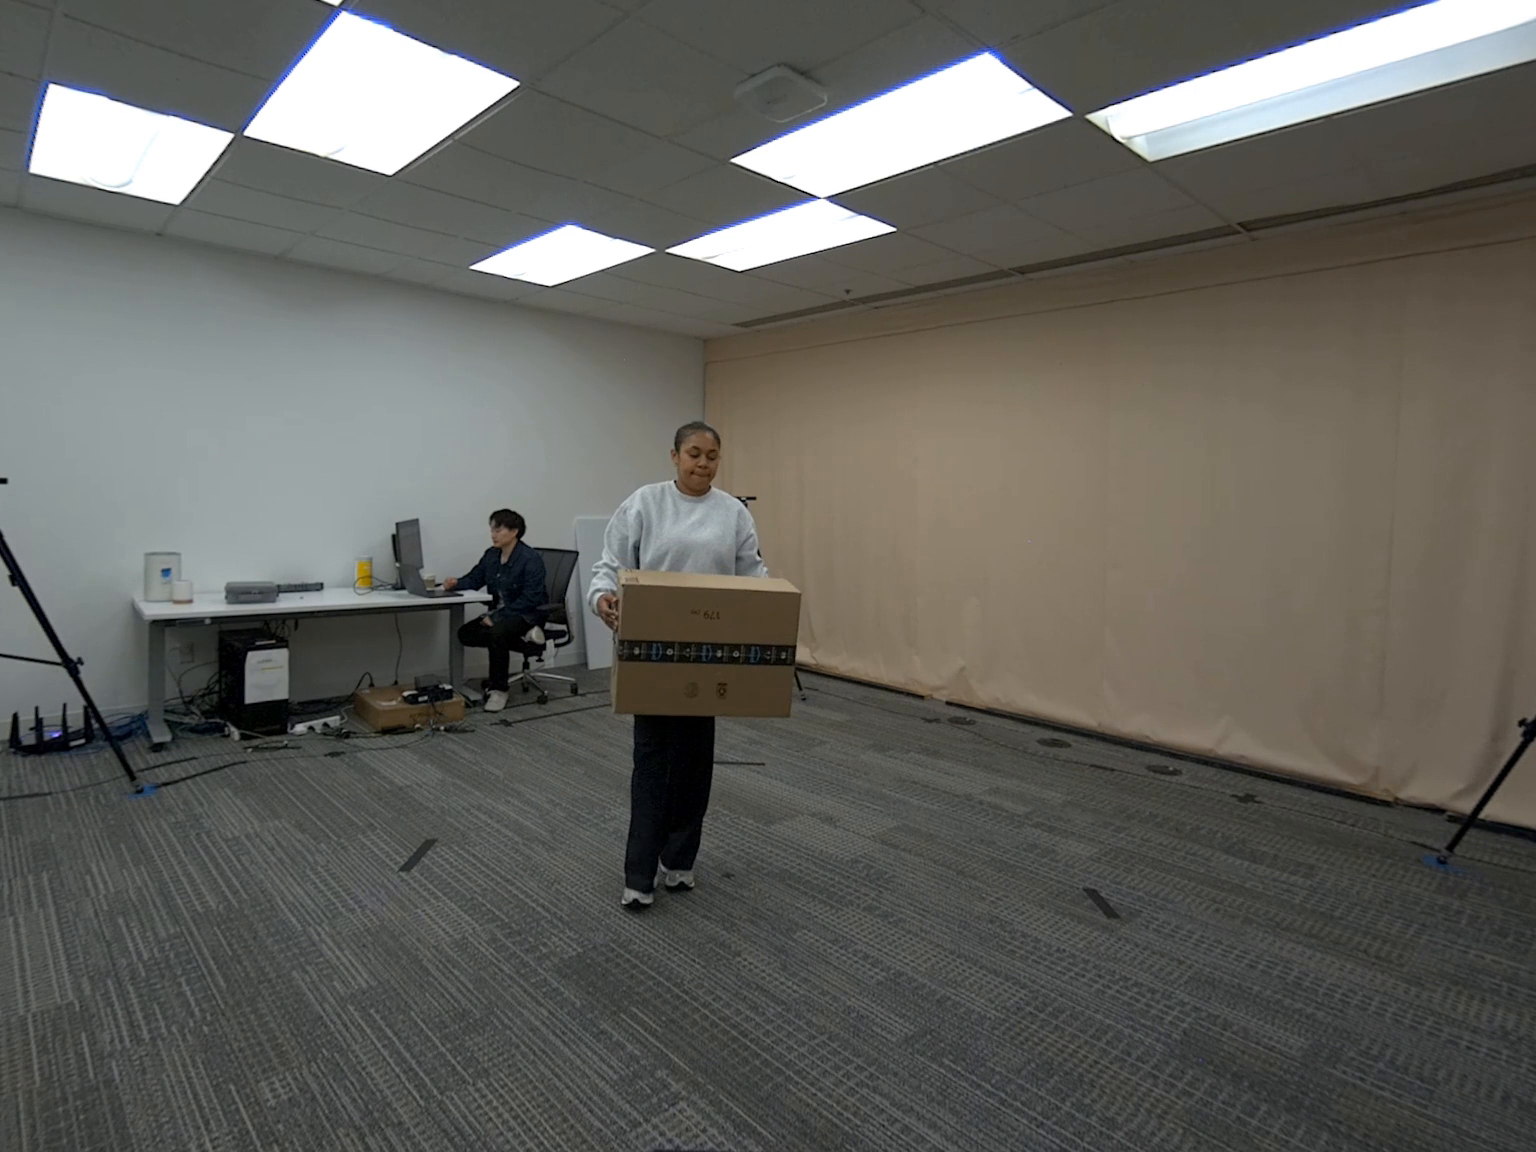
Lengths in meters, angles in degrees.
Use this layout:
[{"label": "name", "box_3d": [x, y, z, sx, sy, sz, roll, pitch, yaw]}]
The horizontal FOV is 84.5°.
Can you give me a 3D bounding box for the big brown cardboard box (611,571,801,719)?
[{"label": "big brown cardboard box", "box_3d": [-0.222, 0.219, 2.711, 0.584, 0.415, 0.236, 4, 9, -10]}]
